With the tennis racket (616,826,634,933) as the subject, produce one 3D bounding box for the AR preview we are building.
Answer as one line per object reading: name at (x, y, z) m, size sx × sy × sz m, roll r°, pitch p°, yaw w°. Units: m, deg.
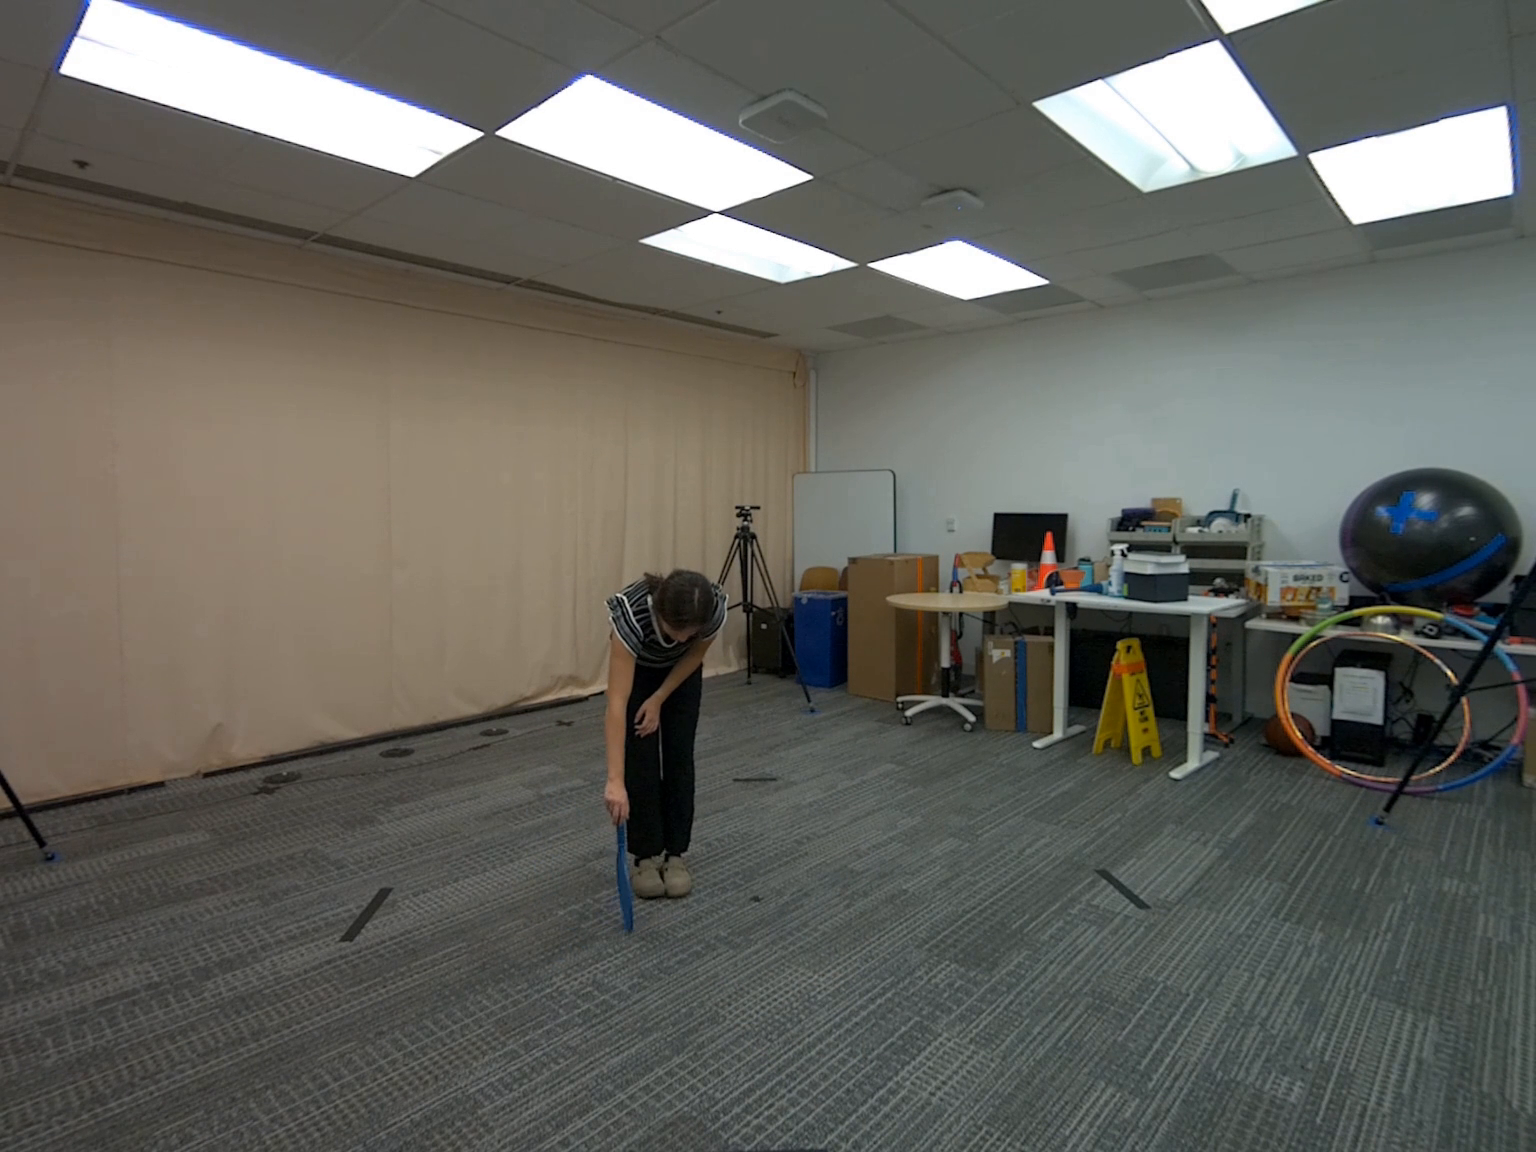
tennis racket at (-0.469, 0.946, 2.741) m, size 0.031 × 0.429 × 0.219 m, roll -6°, pitch 14°, yaw -18°
